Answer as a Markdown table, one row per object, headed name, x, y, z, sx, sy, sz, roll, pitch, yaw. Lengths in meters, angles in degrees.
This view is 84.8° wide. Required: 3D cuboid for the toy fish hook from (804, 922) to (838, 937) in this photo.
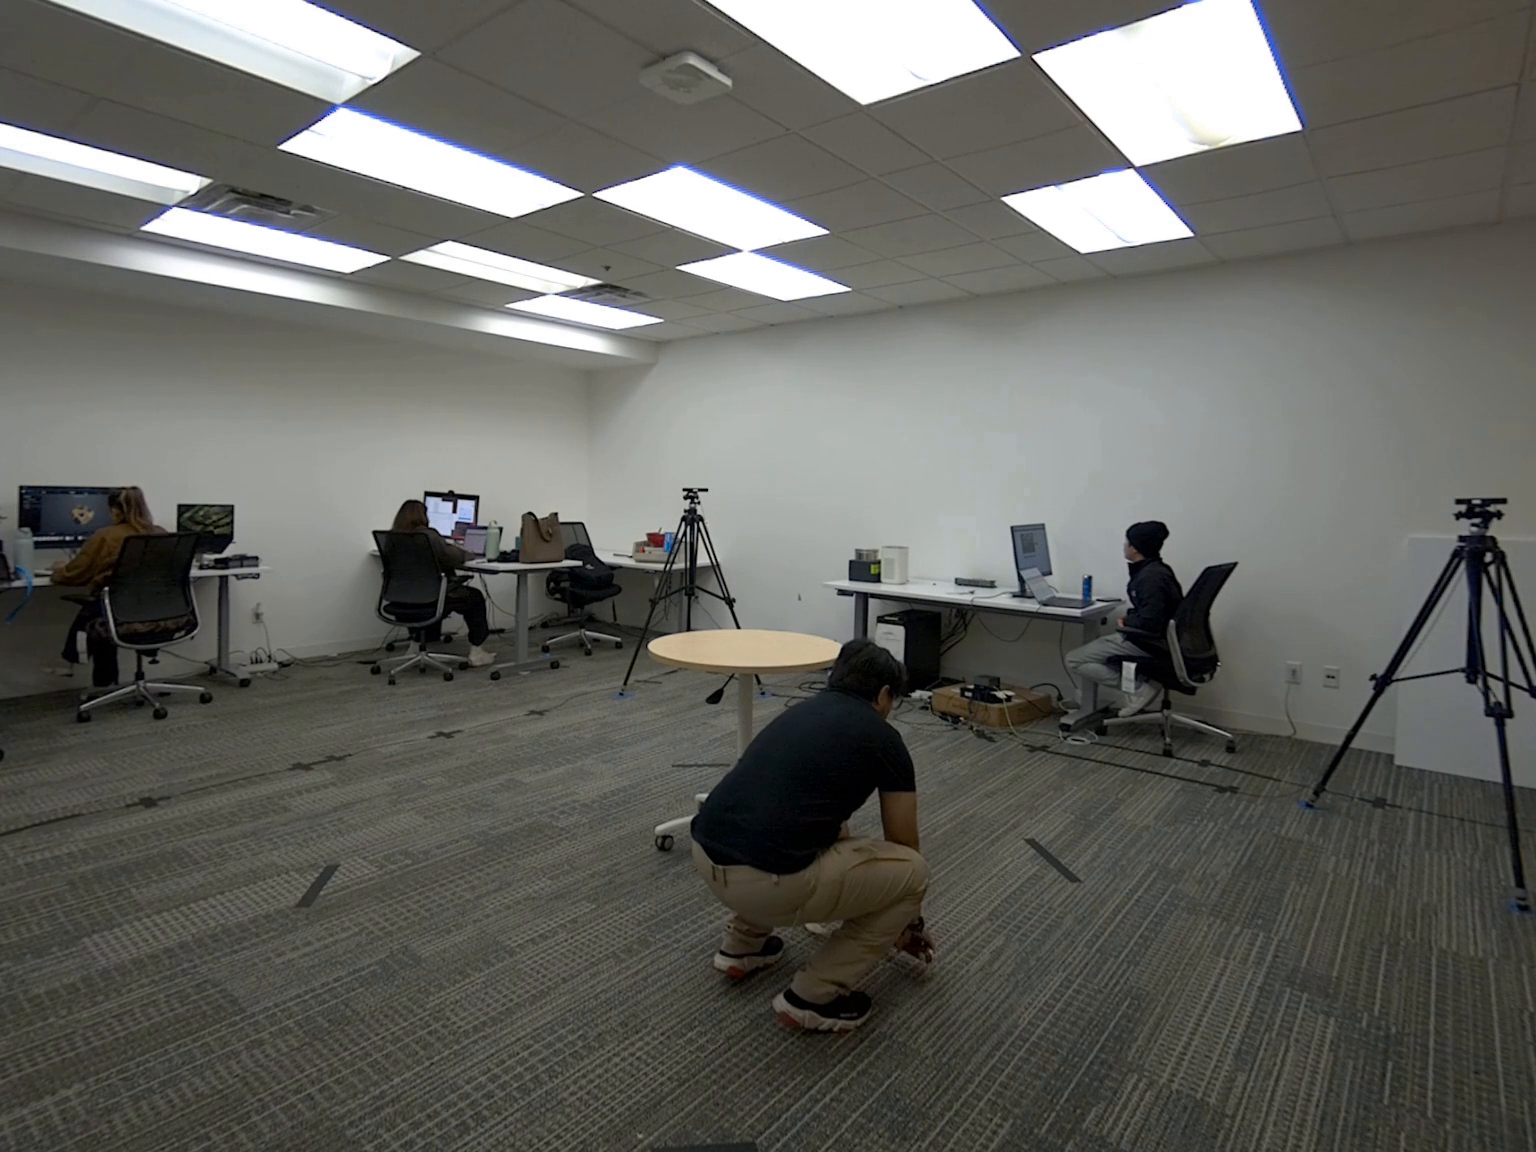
| name | x | y | z | sx | sy | sz | roll | pitch | yaw |
| --- | --- | --- | --- | --- | --- | --- | --- | --- | --- |
| toy fish hook | 0.275 | 1.090 | 2.617 | 0.220 | 0.048 | 0.520 | -19 | 10 | -30 |
